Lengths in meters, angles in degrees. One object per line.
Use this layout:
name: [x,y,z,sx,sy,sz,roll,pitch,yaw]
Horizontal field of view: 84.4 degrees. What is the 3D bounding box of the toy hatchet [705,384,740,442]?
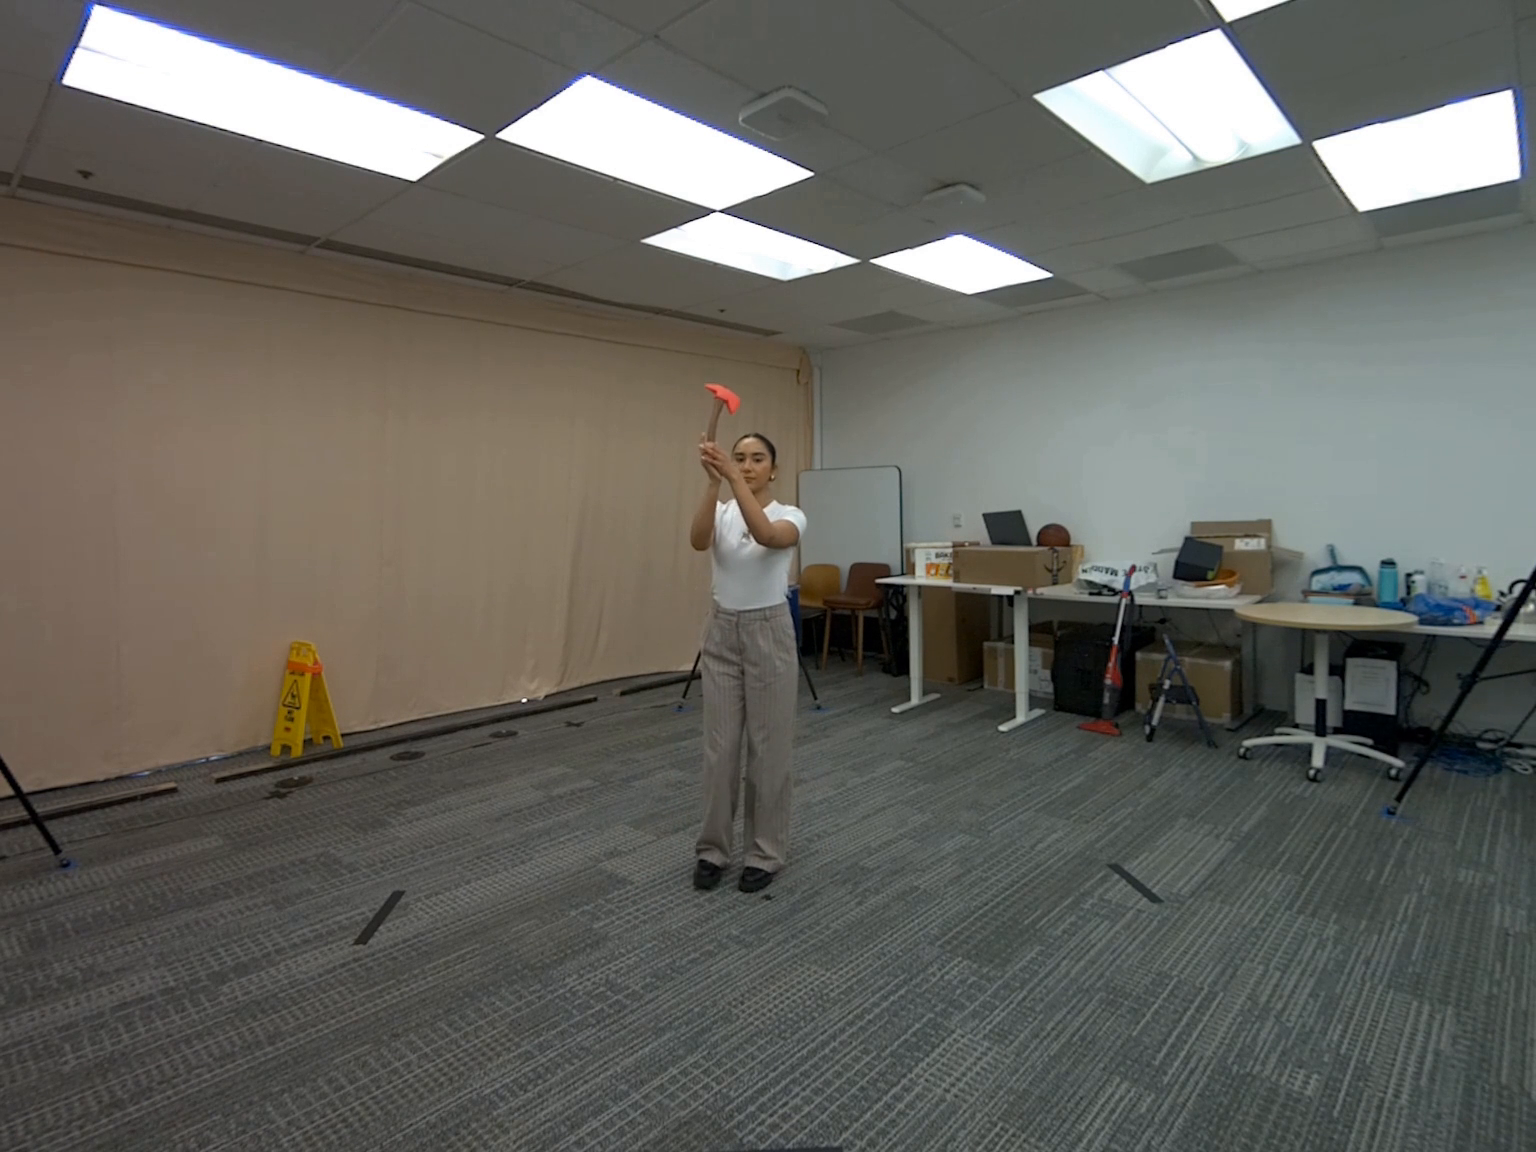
toy hatchet: [-0.147,-0.501,2.767,0.127,0.272,0.030,1,-10,-27]
